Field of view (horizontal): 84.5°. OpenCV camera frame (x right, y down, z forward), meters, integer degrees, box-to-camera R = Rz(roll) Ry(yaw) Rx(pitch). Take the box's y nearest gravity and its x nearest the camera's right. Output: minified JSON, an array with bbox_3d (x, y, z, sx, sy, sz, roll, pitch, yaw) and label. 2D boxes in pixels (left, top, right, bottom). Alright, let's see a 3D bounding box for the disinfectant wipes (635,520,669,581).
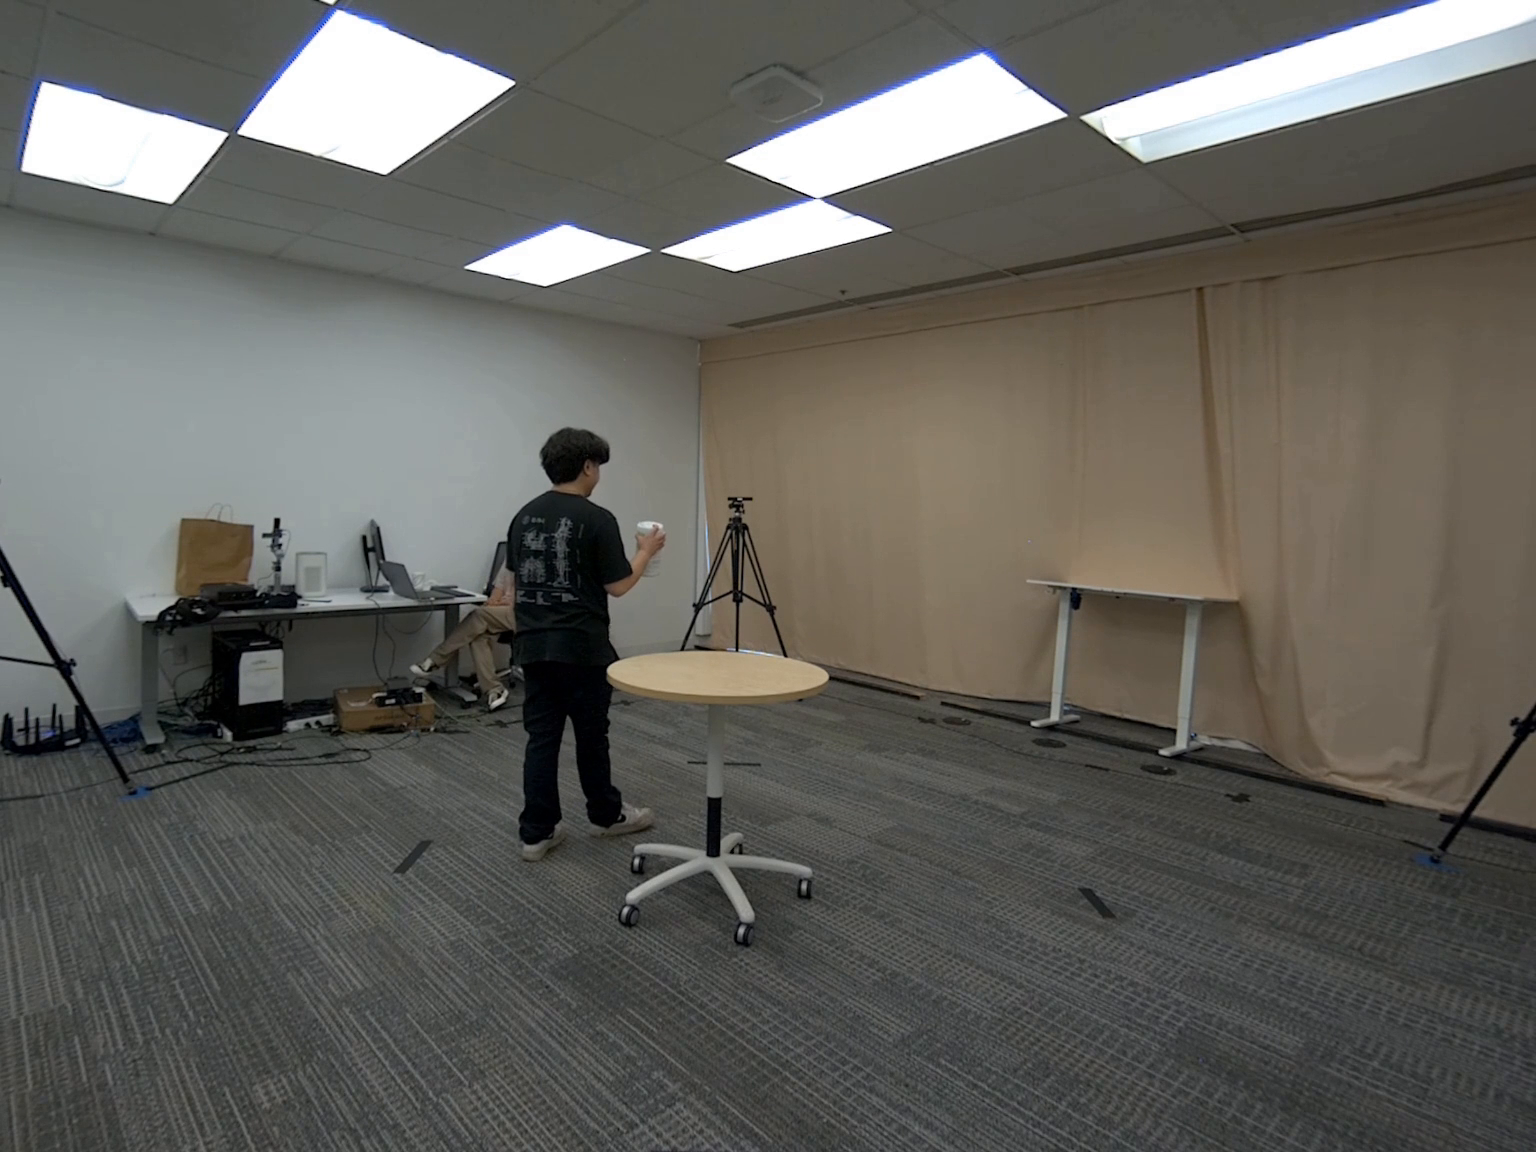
[{"bbox_3d":[-0.489,-0.111,3.535,0.117,0.215,0.119,5,14,-3],"label":"disinfectant wipes"}]
